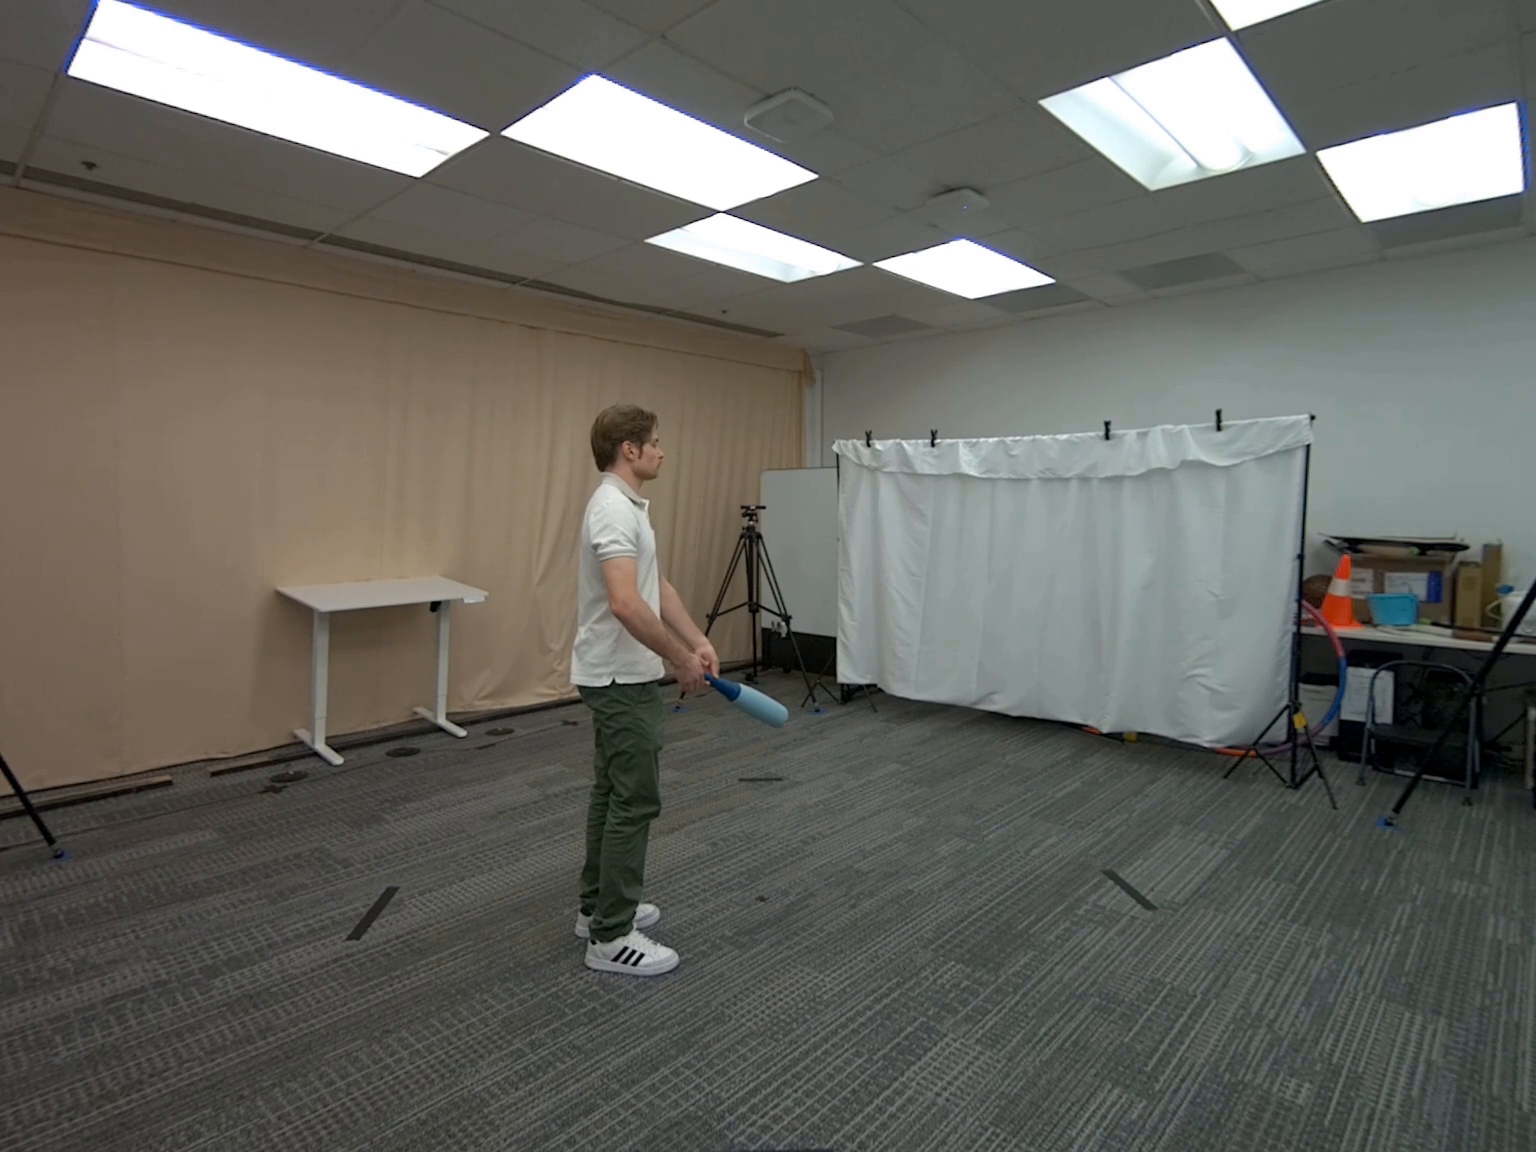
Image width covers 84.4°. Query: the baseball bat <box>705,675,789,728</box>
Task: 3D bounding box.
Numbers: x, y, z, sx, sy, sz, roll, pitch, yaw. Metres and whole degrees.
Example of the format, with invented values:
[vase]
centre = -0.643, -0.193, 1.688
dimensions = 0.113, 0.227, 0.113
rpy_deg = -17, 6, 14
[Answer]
[baseball bat]
centre = -0.143, 0.394, 2.891
dimensions = 0.525, 0.089, 0.092
rpy_deg = 34, -18, -34
